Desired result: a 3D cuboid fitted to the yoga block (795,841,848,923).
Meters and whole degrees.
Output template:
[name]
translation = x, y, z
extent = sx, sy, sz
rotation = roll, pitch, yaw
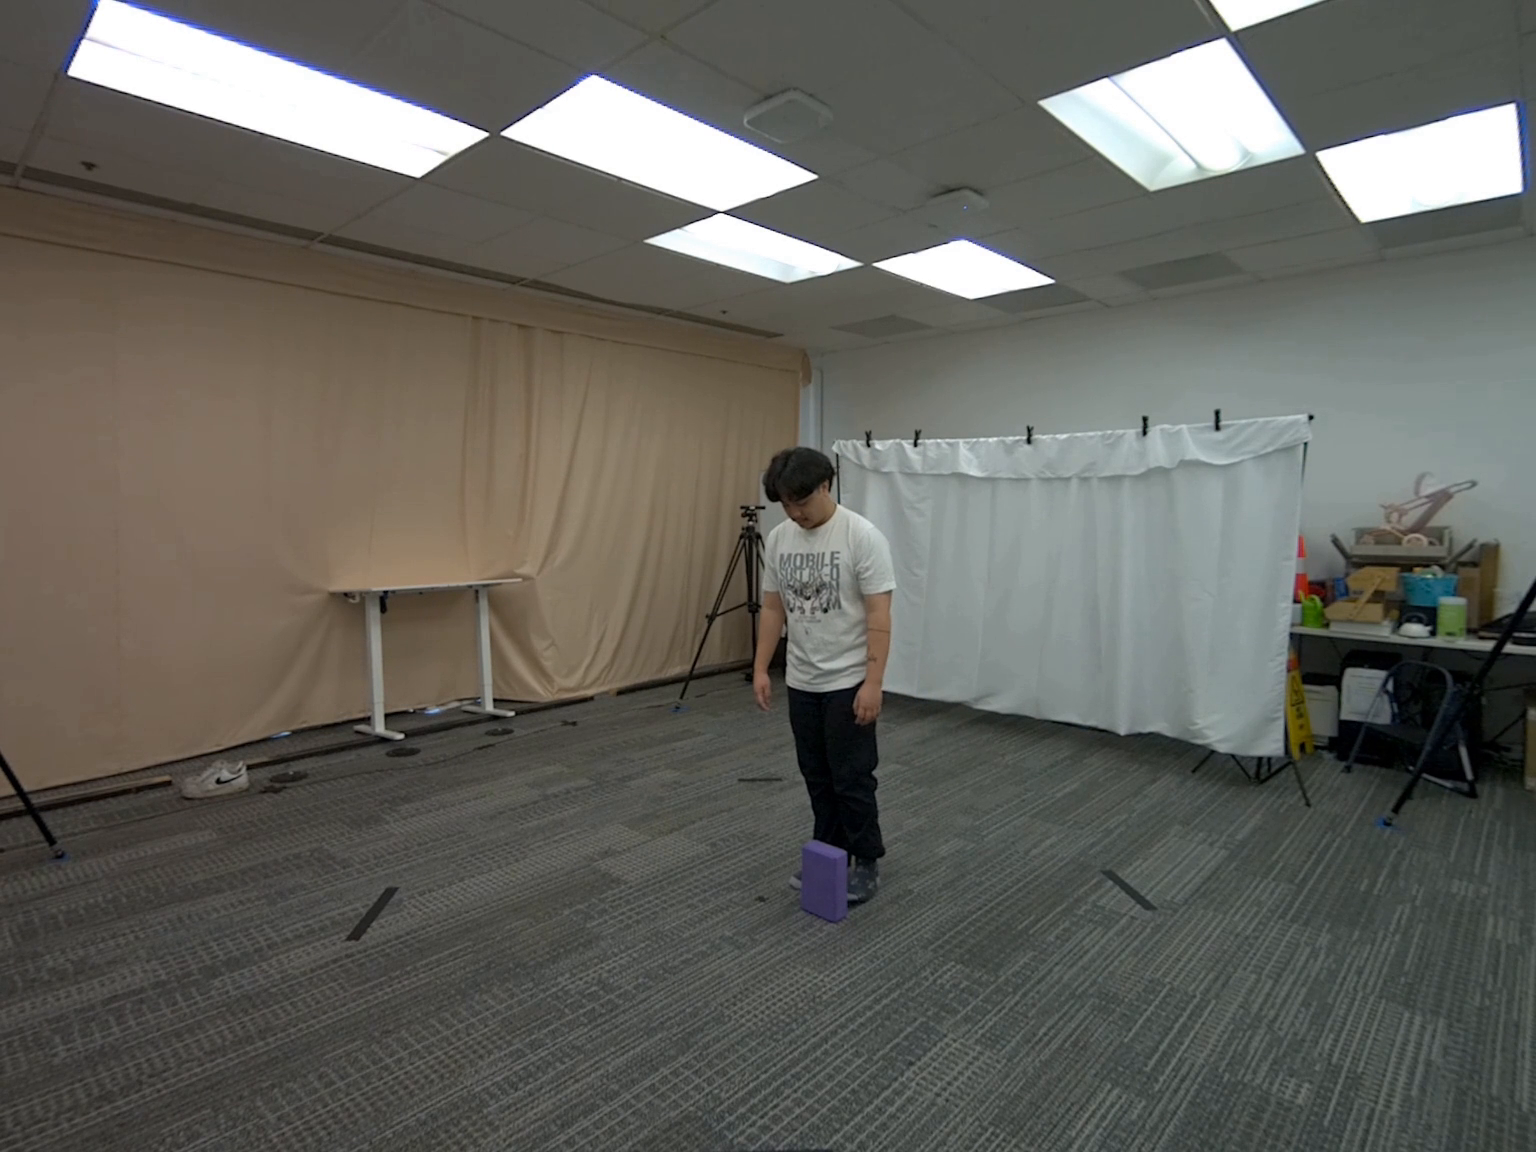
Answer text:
[yoga block]
translation = 0.195, 1.036, 2.869
extent = 0.154, 0.228, 0.074
rotation = 5, 7, 43
